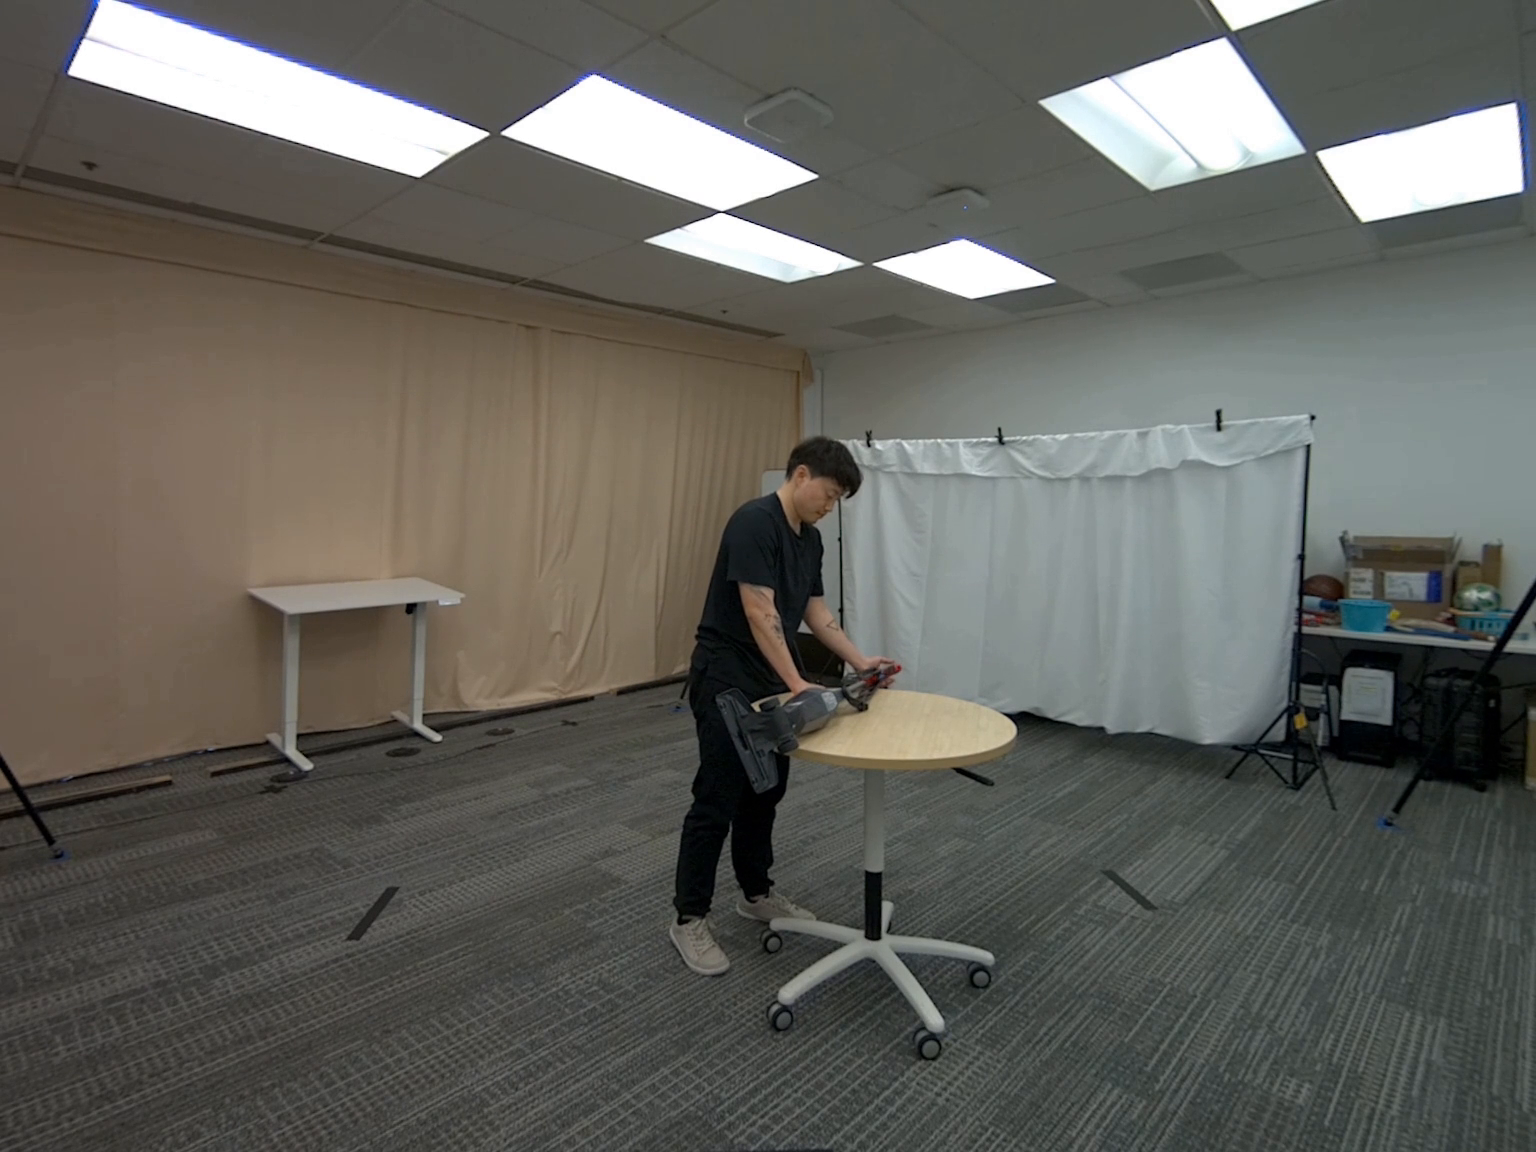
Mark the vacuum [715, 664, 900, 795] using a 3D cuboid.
[{"bbox_3d":[0.205,0.368,2.503,0.146,0.255,1.023,-31,-10,24],"label":"vacuum"}]
